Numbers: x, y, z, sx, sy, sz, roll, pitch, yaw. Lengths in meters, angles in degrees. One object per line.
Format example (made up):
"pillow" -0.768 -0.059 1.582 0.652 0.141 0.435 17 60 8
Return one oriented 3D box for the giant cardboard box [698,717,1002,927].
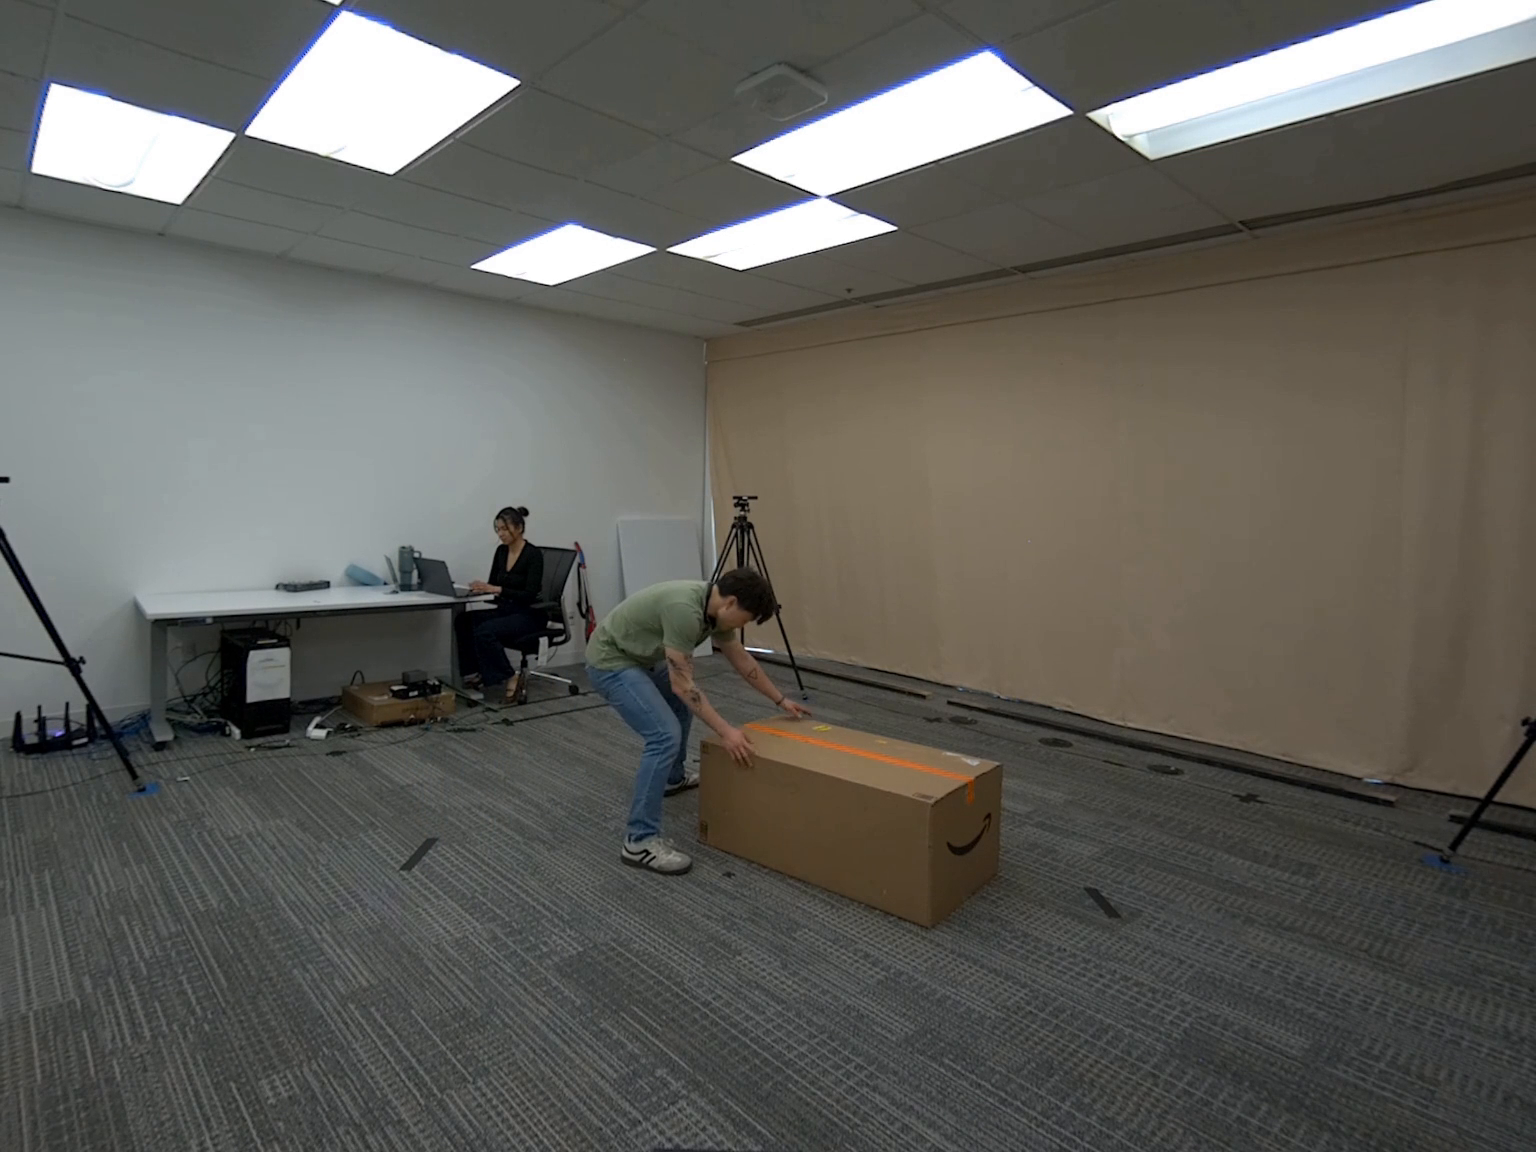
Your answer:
"giant cardboard box" 0.294 0.886 3.269 1.051 0.425 0.564 5 5 39
